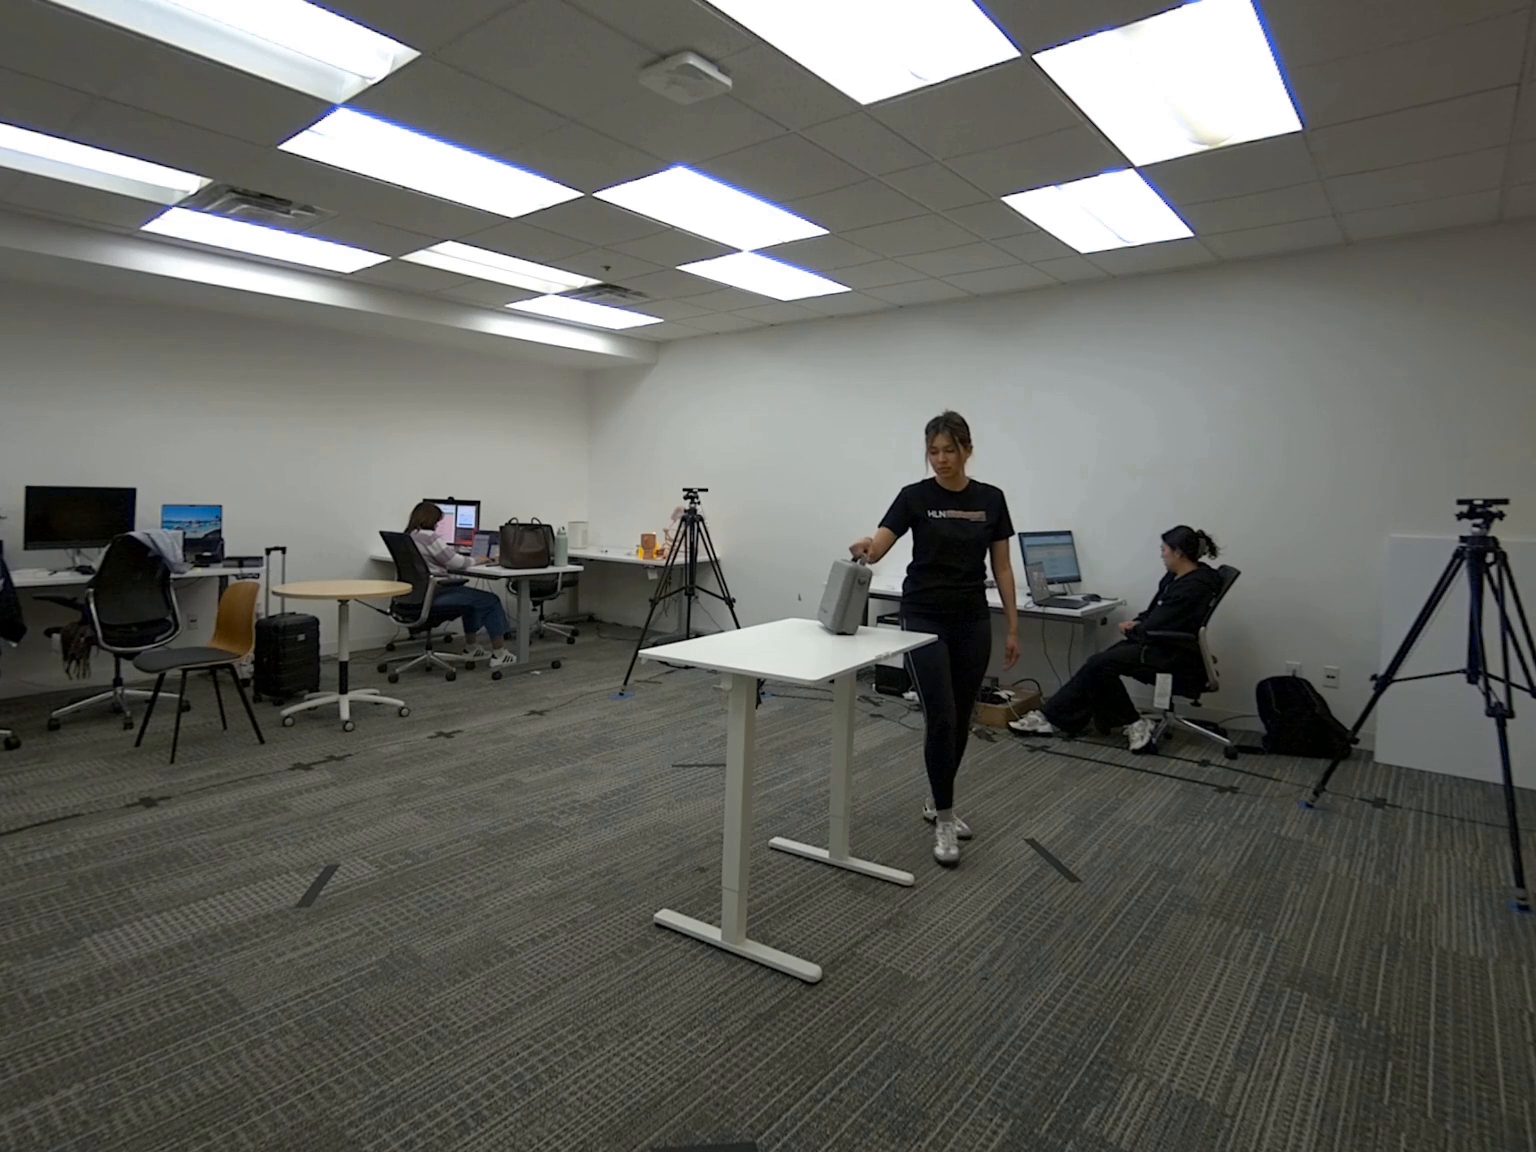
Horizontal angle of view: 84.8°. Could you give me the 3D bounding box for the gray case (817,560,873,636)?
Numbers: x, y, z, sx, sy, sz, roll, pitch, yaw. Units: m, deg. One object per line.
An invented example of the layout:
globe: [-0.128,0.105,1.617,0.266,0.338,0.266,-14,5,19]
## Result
gray case: [0.268,0.063,3.126,0.104,0.260,0.258,11,4,-5]
